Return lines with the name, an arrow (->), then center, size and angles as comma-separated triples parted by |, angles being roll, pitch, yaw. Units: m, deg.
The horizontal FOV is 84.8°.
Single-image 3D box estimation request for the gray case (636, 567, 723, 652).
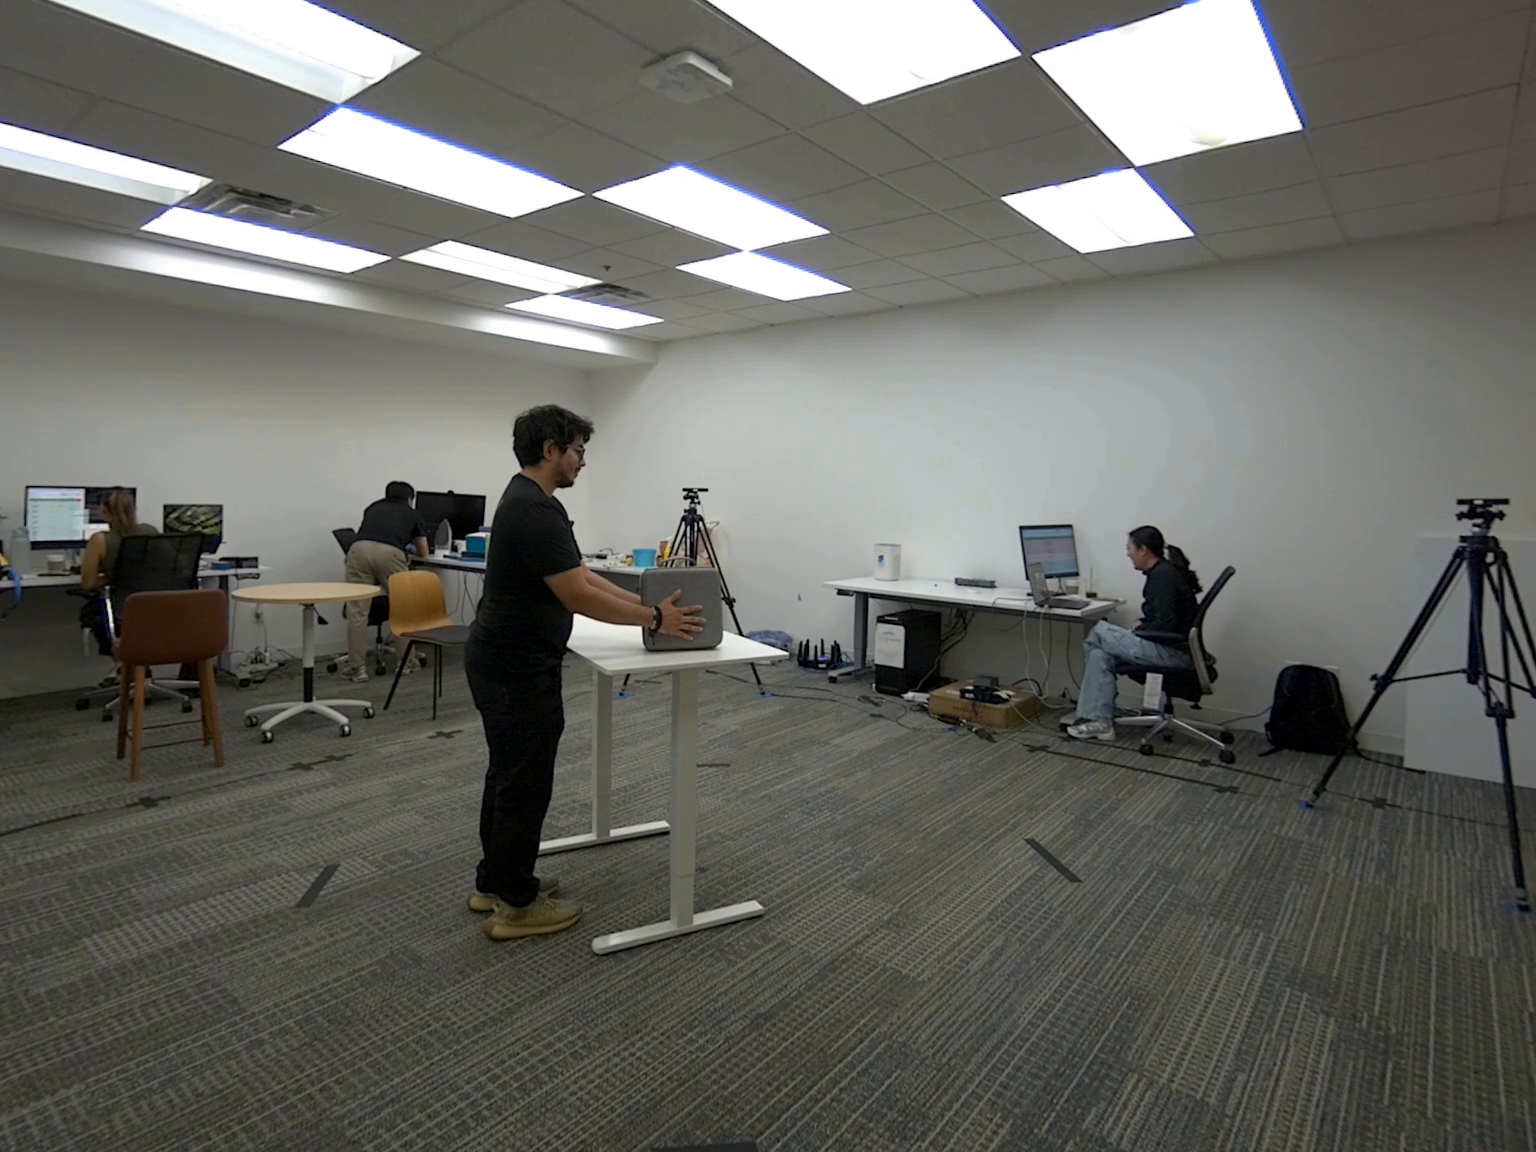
gray case -> -0.291, 0.100, 2.692 | 0.254, 0.261, 0.105 | -1, -3, -9
